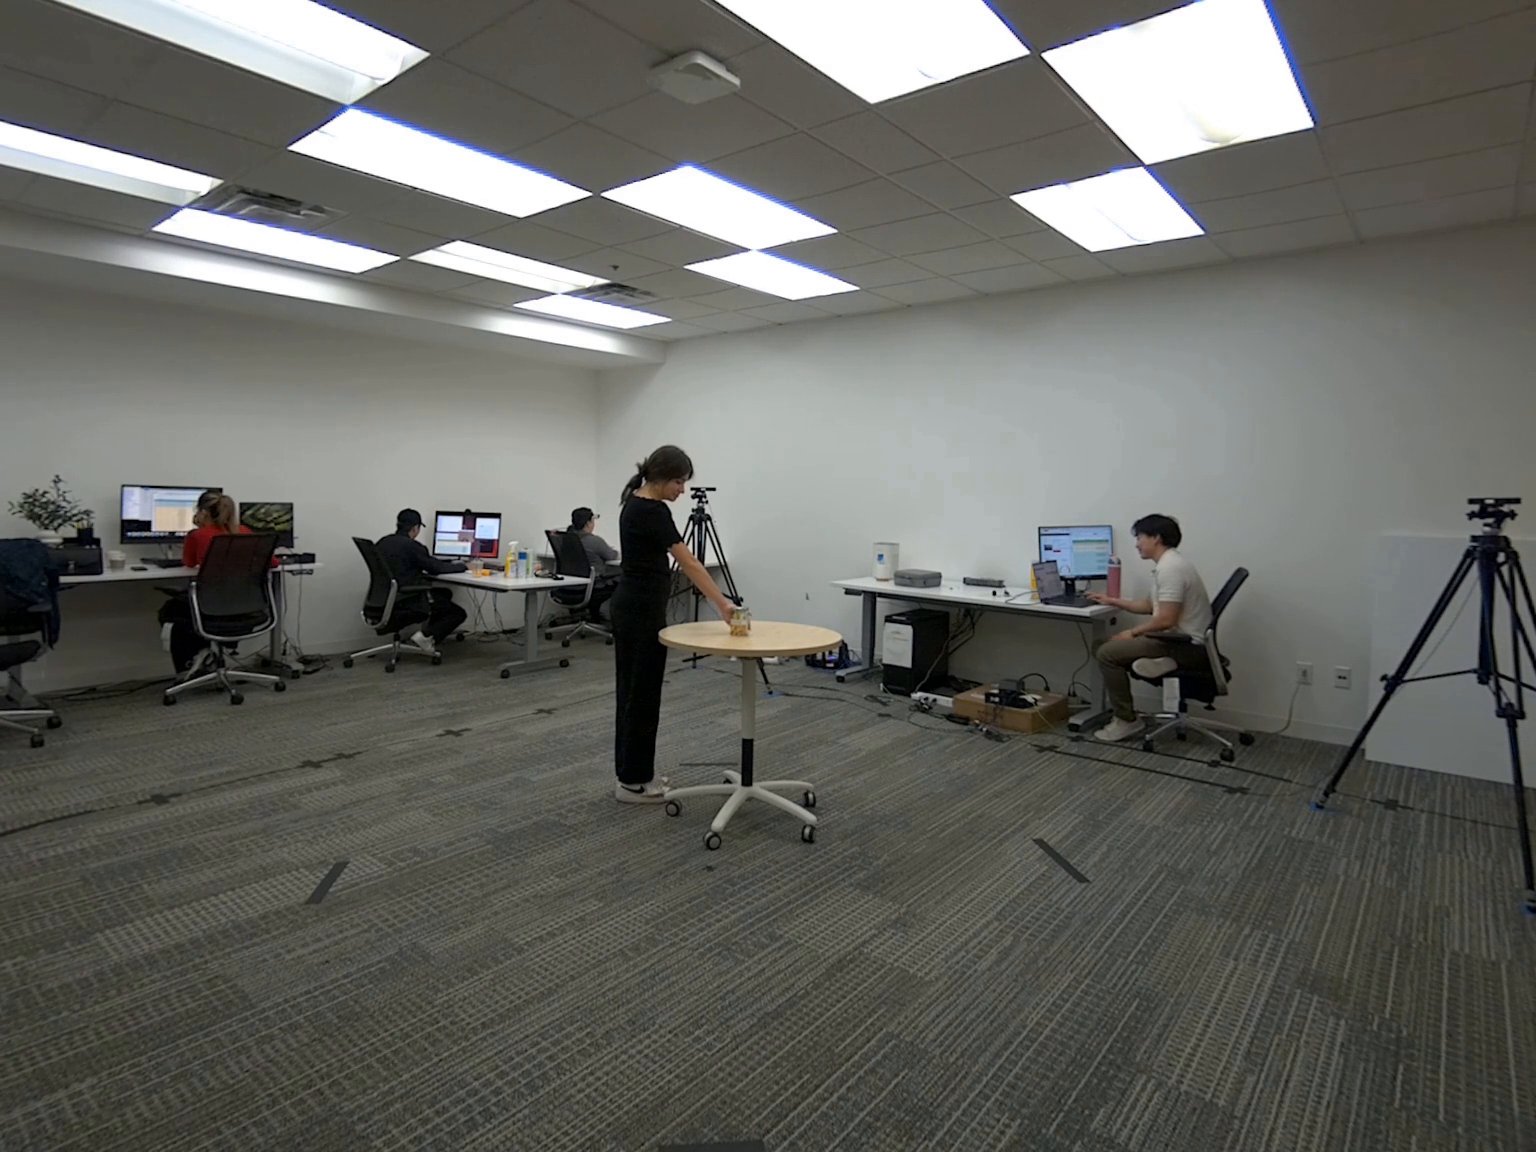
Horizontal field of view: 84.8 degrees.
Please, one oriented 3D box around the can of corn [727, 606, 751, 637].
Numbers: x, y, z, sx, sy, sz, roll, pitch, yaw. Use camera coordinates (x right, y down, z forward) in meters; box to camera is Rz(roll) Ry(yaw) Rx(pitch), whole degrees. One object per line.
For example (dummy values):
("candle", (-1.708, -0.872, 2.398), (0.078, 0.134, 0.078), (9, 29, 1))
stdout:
("can of corn", (-0.132, 0.189, 3.539), (0.074, 0.111, 0.074), (3, 0, -2))
